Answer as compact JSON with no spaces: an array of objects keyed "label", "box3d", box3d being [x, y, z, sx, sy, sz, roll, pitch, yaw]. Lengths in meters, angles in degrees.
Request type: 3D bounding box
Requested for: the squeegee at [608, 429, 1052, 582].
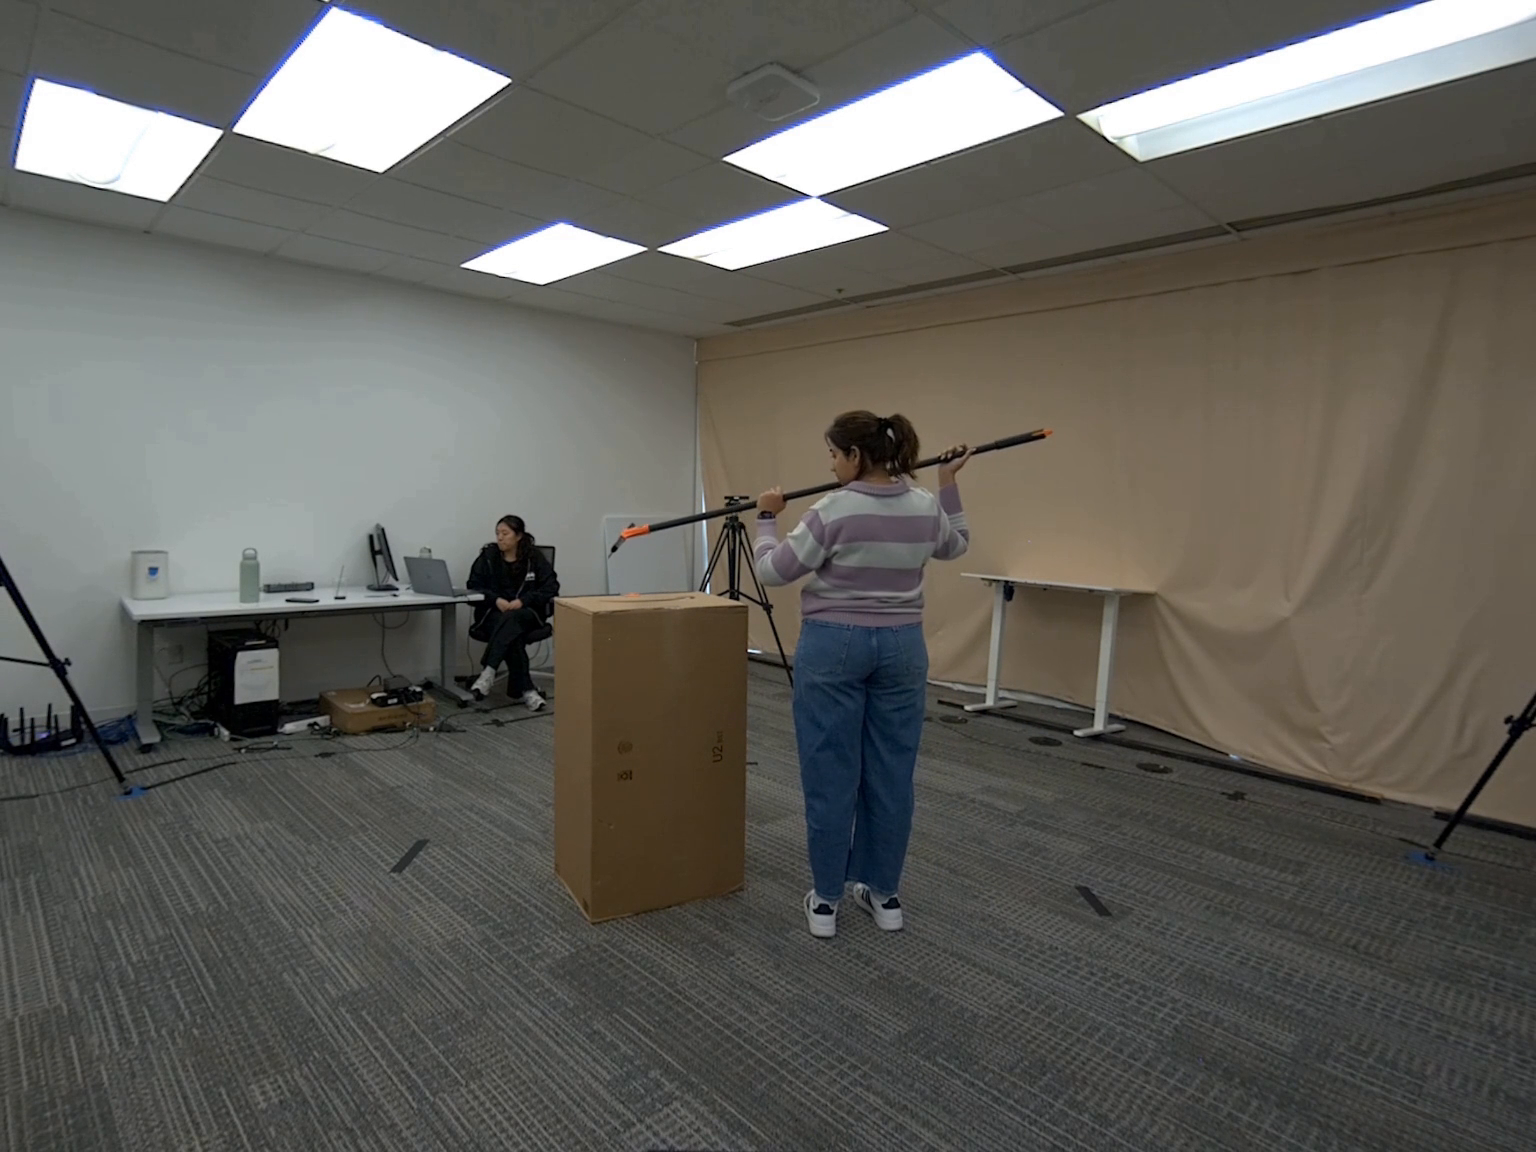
[{"label":"squeegee","box3d":[0.209,-0.309,2.913,1.540,0.052,0.444,-15,21,3]}]
